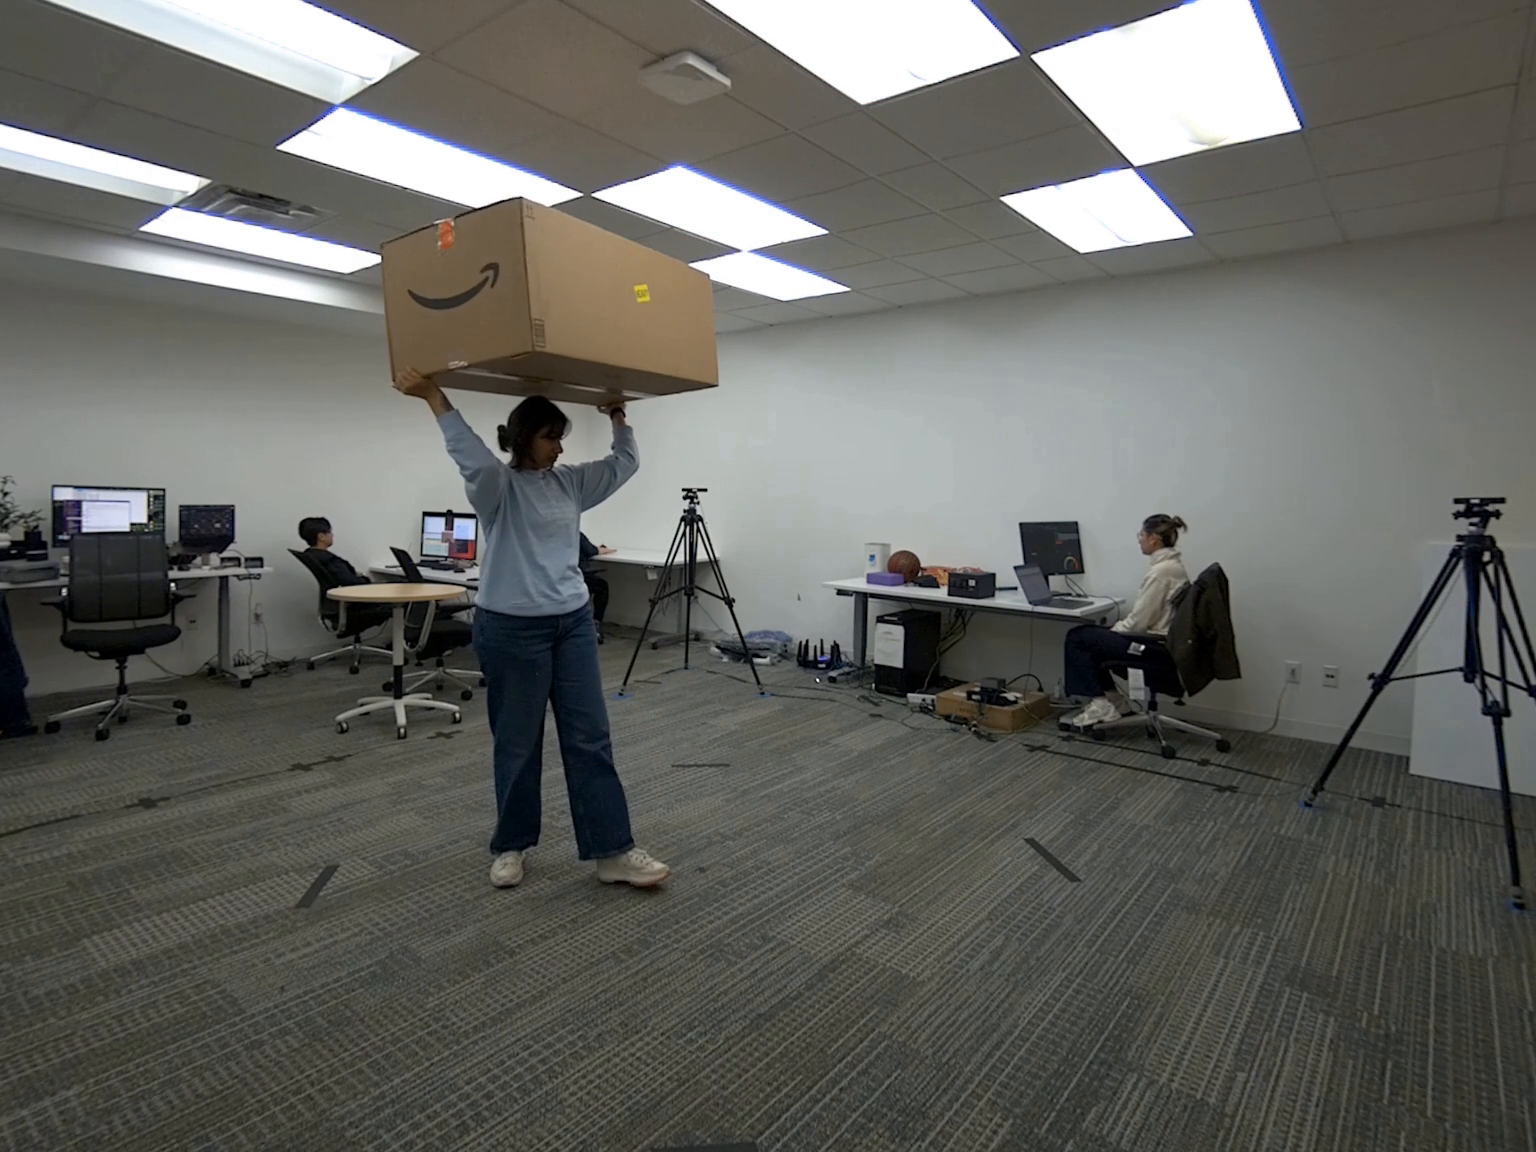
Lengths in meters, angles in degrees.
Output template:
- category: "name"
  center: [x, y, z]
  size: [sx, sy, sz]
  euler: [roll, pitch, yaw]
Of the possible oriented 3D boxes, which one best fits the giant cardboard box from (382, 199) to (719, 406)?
- category: "giant cardboard box"
  center: [-0.687, -0.854, 2.873]
  size: [0.592, 0.425, 1.002]
  euler: [-3, 4, 28]
